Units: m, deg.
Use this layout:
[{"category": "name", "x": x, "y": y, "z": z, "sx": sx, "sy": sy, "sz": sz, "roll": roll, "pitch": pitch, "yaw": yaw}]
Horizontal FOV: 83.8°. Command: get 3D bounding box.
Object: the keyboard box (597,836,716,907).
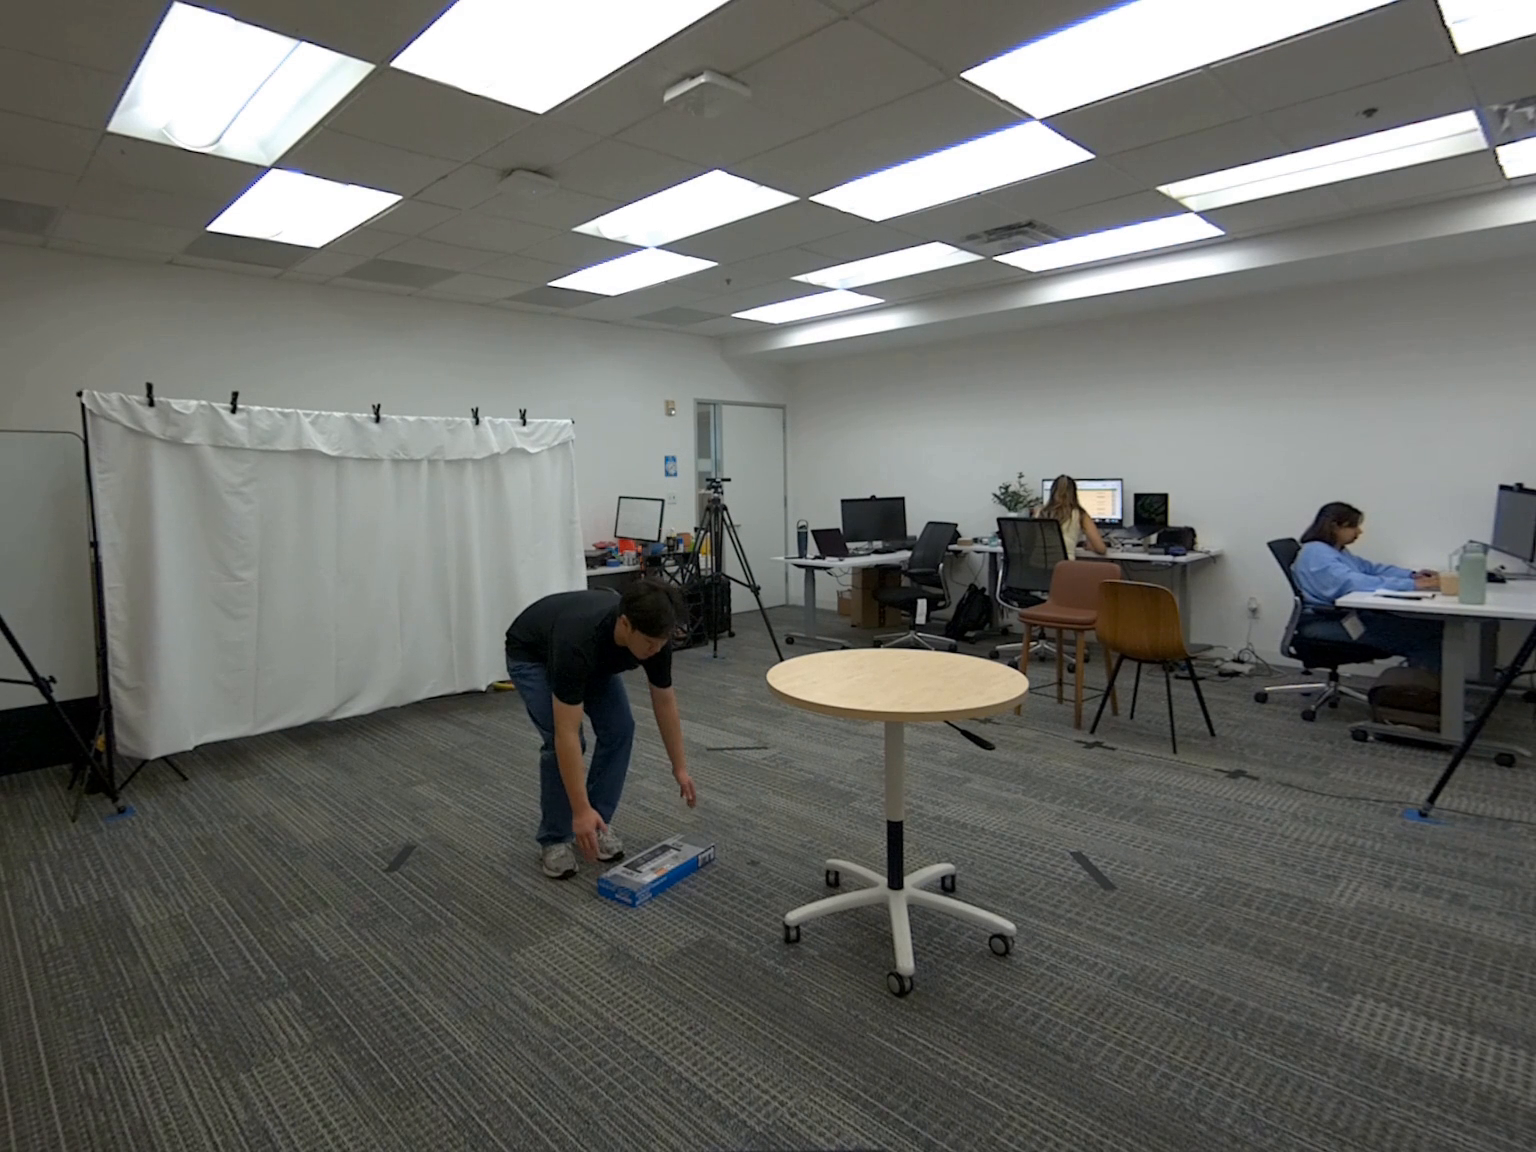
[{"category": "keyboard box", "x": -0.382, "y": 1.030, "z": 3.009, "sx": 0.181, "sy": 0.059, "sz": 0.426, "roll": 5, "pitch": 8, "yaw": 35}]
